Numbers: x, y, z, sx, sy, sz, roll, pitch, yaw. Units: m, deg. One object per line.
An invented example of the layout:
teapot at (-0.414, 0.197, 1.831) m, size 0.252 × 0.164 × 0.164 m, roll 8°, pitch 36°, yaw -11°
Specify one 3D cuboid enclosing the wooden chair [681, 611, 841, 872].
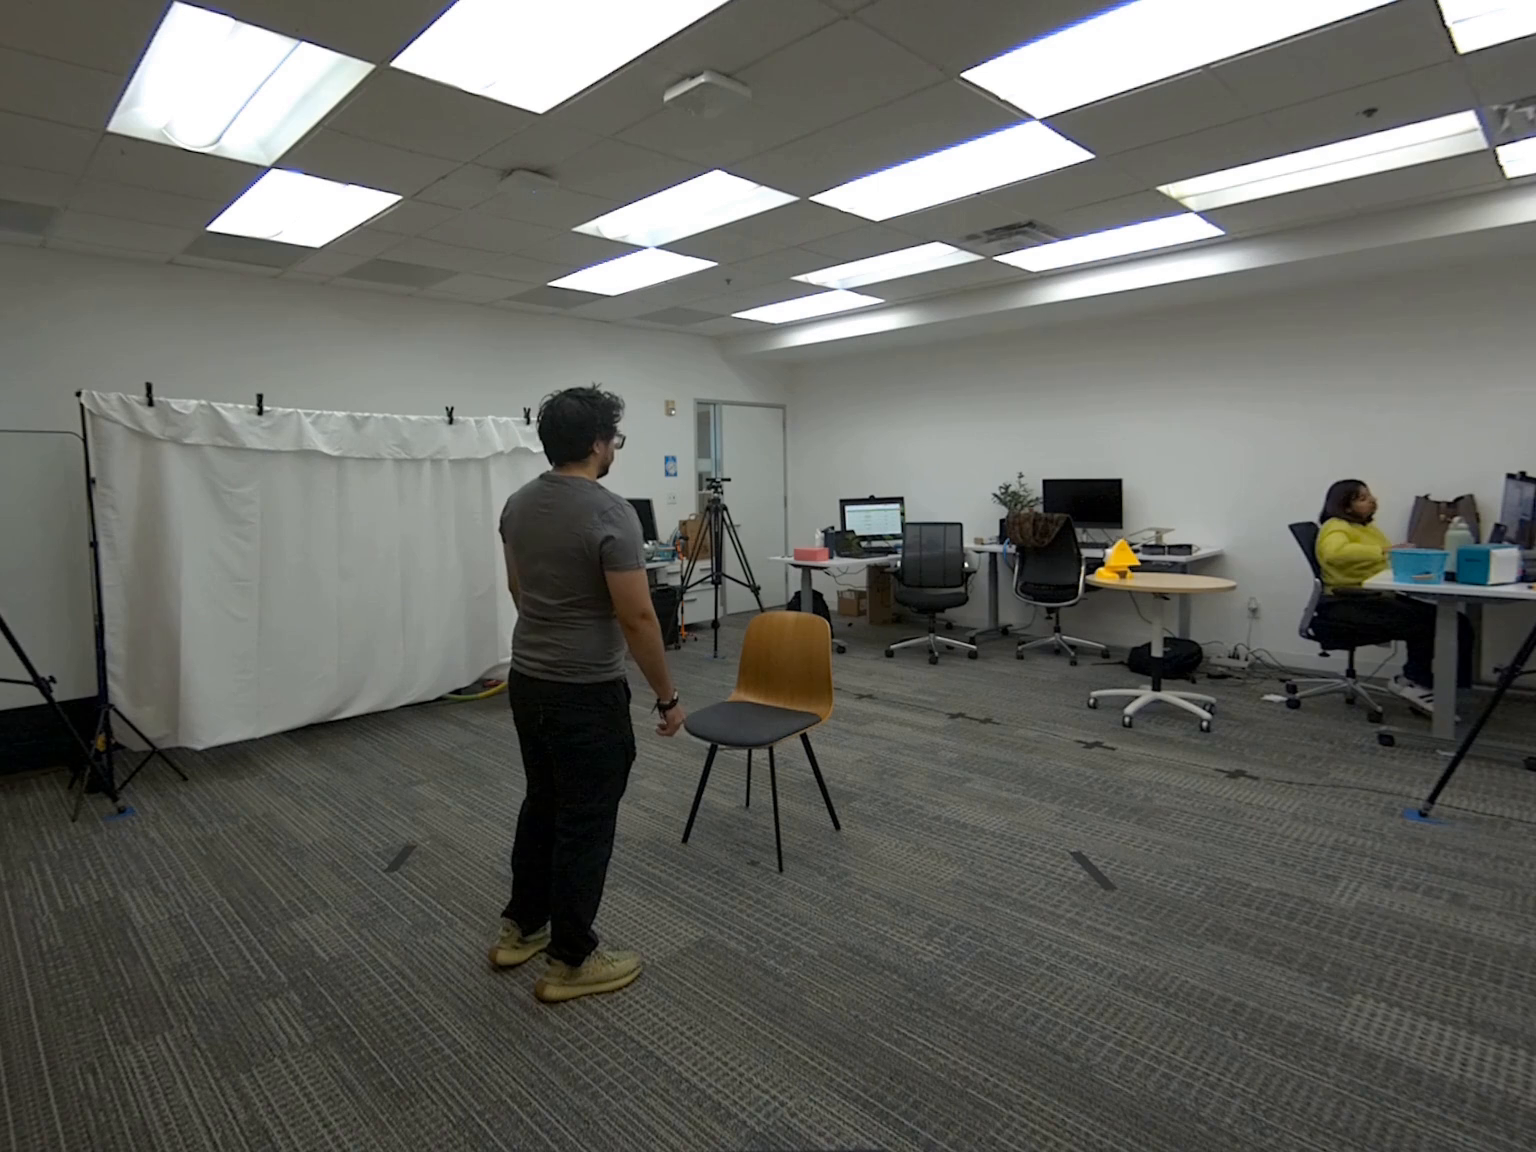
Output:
wooden chair at (-0.030, 0.591, 3.294) m, size 0.492 × 0.877 × 0.509 m, roll 2°, pitch 1°, yaw 34°
